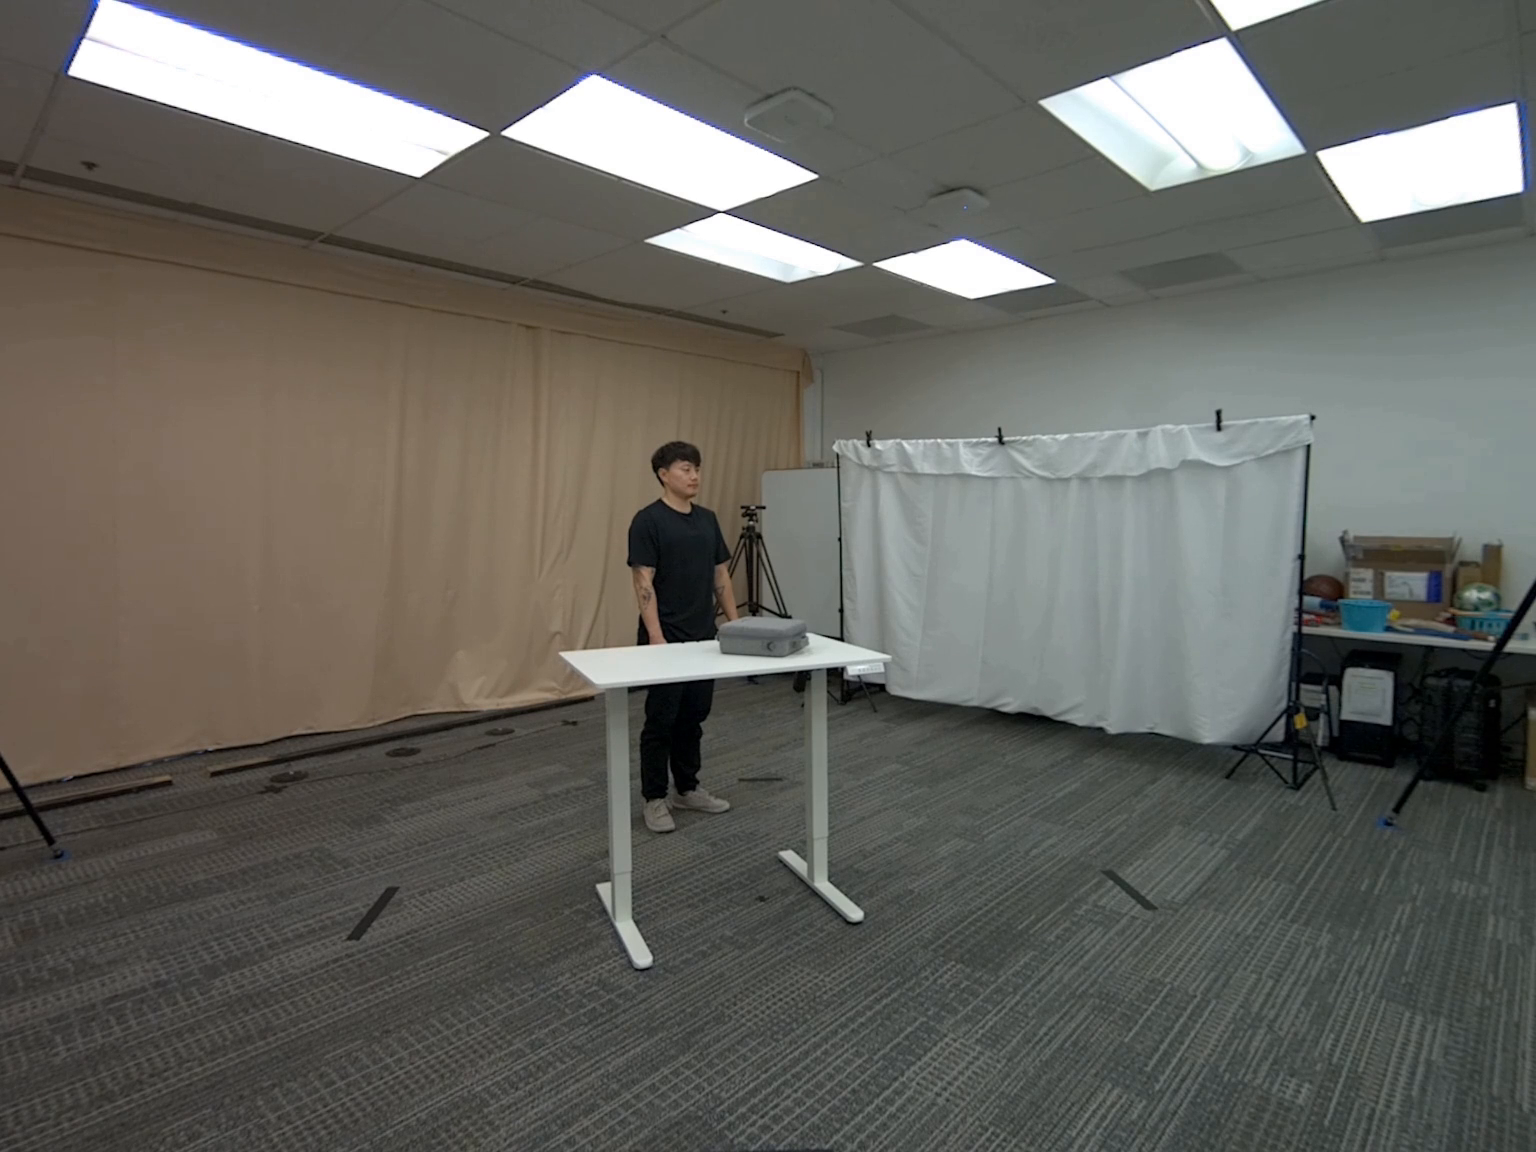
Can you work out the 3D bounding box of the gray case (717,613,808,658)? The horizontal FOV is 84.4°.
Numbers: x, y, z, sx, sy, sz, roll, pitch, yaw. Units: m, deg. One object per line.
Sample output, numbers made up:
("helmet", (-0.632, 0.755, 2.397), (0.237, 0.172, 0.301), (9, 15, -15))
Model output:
("gray case", (-0.009, 0.210, 2.956), (0.267, 0.104, 0.251), (2, 4, 23))
